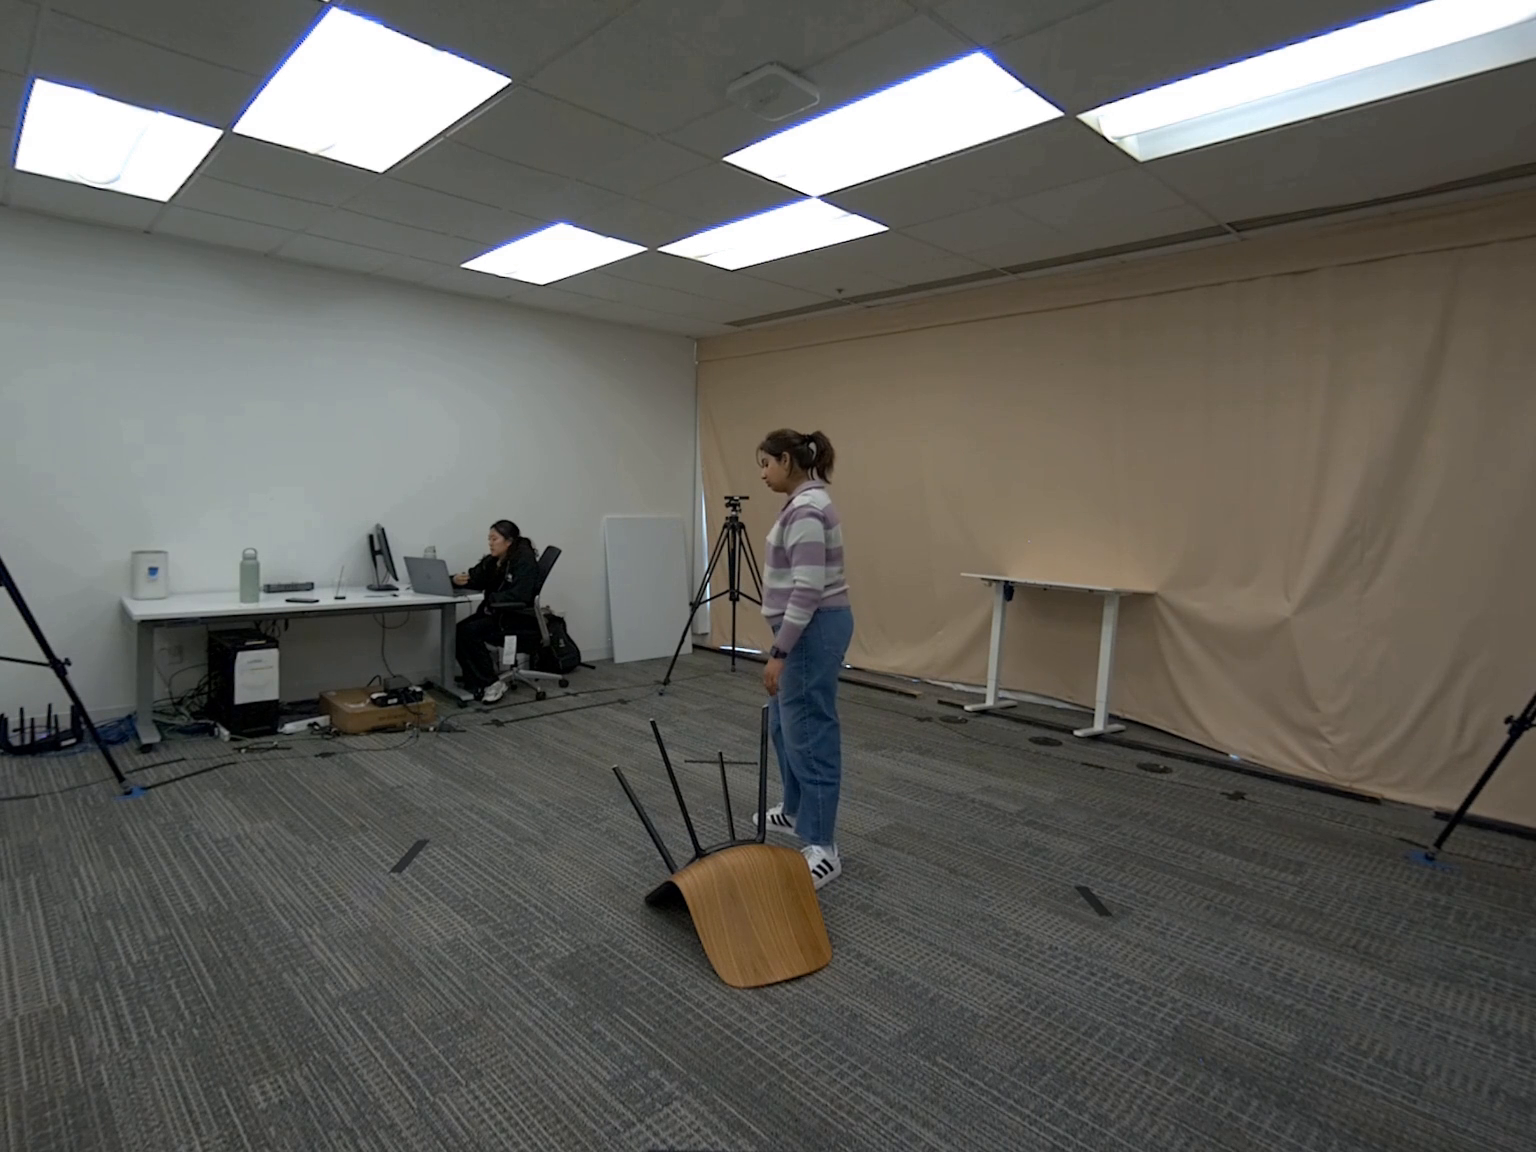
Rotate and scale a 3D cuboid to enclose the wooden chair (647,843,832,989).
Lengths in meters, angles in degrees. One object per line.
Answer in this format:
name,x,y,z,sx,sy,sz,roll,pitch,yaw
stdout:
wooden chair,-0.172,0.957,2.842,0.468,0.900,0.520,-1,-36,-30
